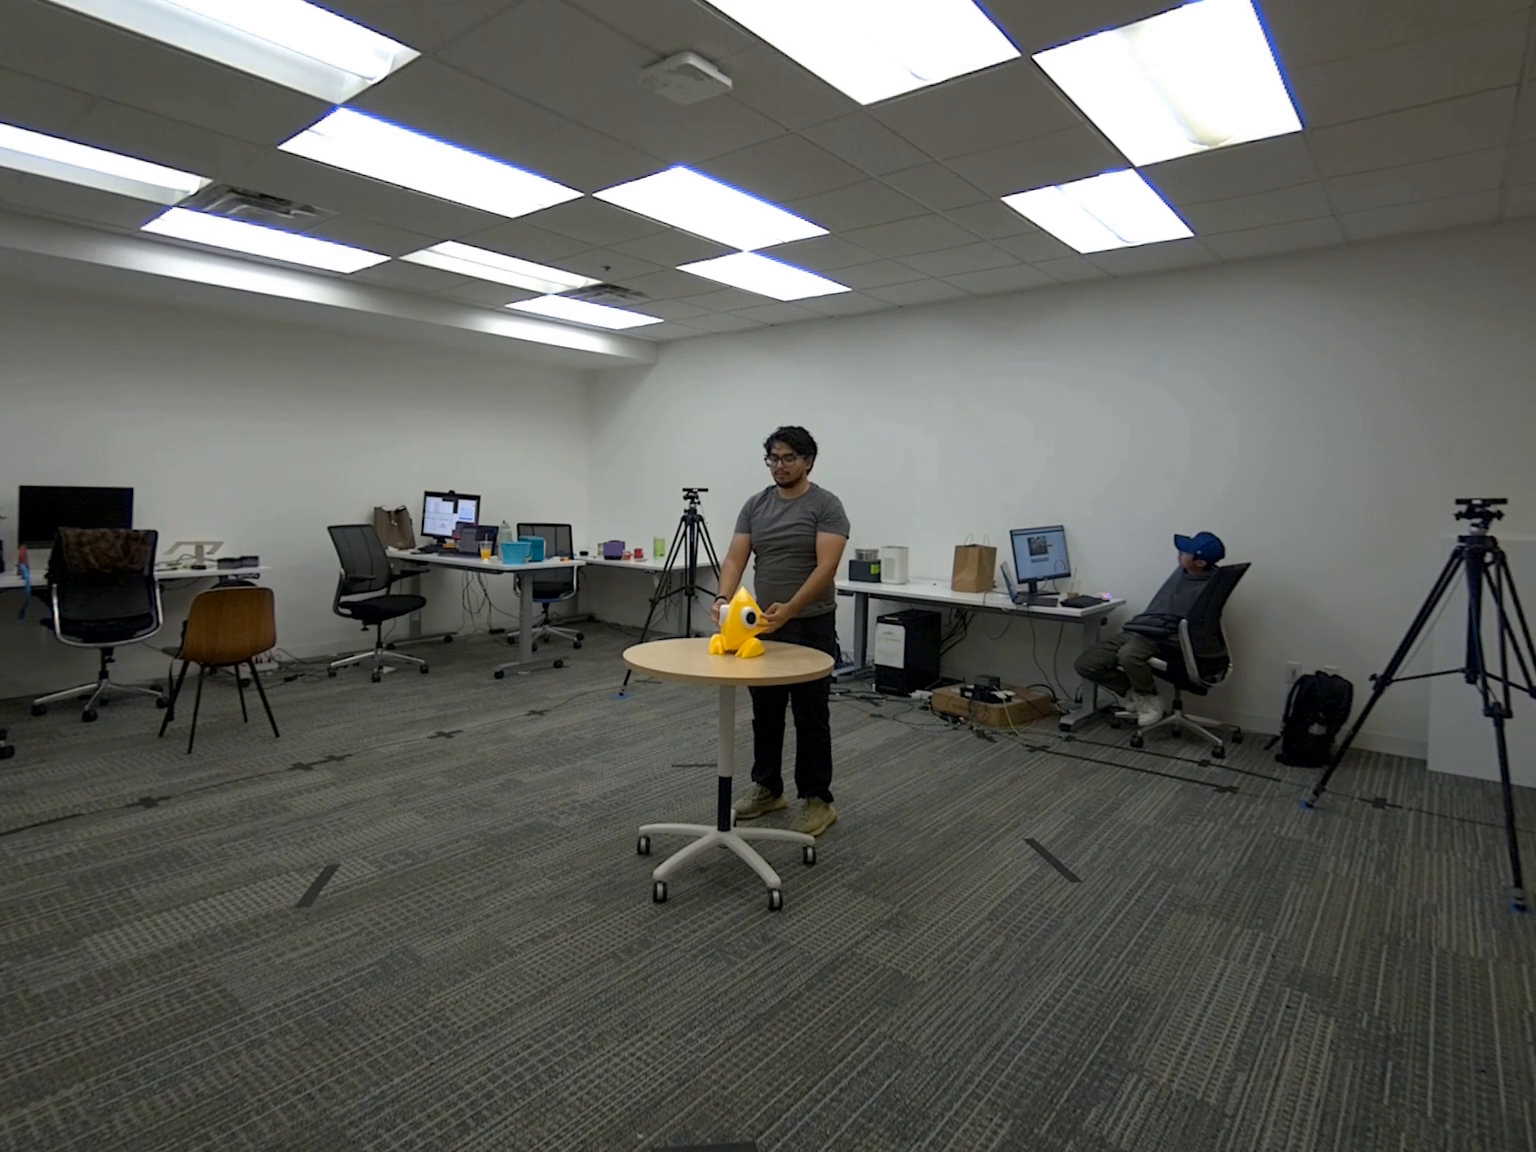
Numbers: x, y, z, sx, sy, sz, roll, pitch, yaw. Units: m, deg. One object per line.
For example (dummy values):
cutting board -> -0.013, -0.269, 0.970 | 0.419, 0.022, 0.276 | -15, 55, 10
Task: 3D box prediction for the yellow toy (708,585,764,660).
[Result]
yellow toy -> -0.128, 0.161, 3.152 | 0.210, 0.229, 0.189 | 4, 9, 25
